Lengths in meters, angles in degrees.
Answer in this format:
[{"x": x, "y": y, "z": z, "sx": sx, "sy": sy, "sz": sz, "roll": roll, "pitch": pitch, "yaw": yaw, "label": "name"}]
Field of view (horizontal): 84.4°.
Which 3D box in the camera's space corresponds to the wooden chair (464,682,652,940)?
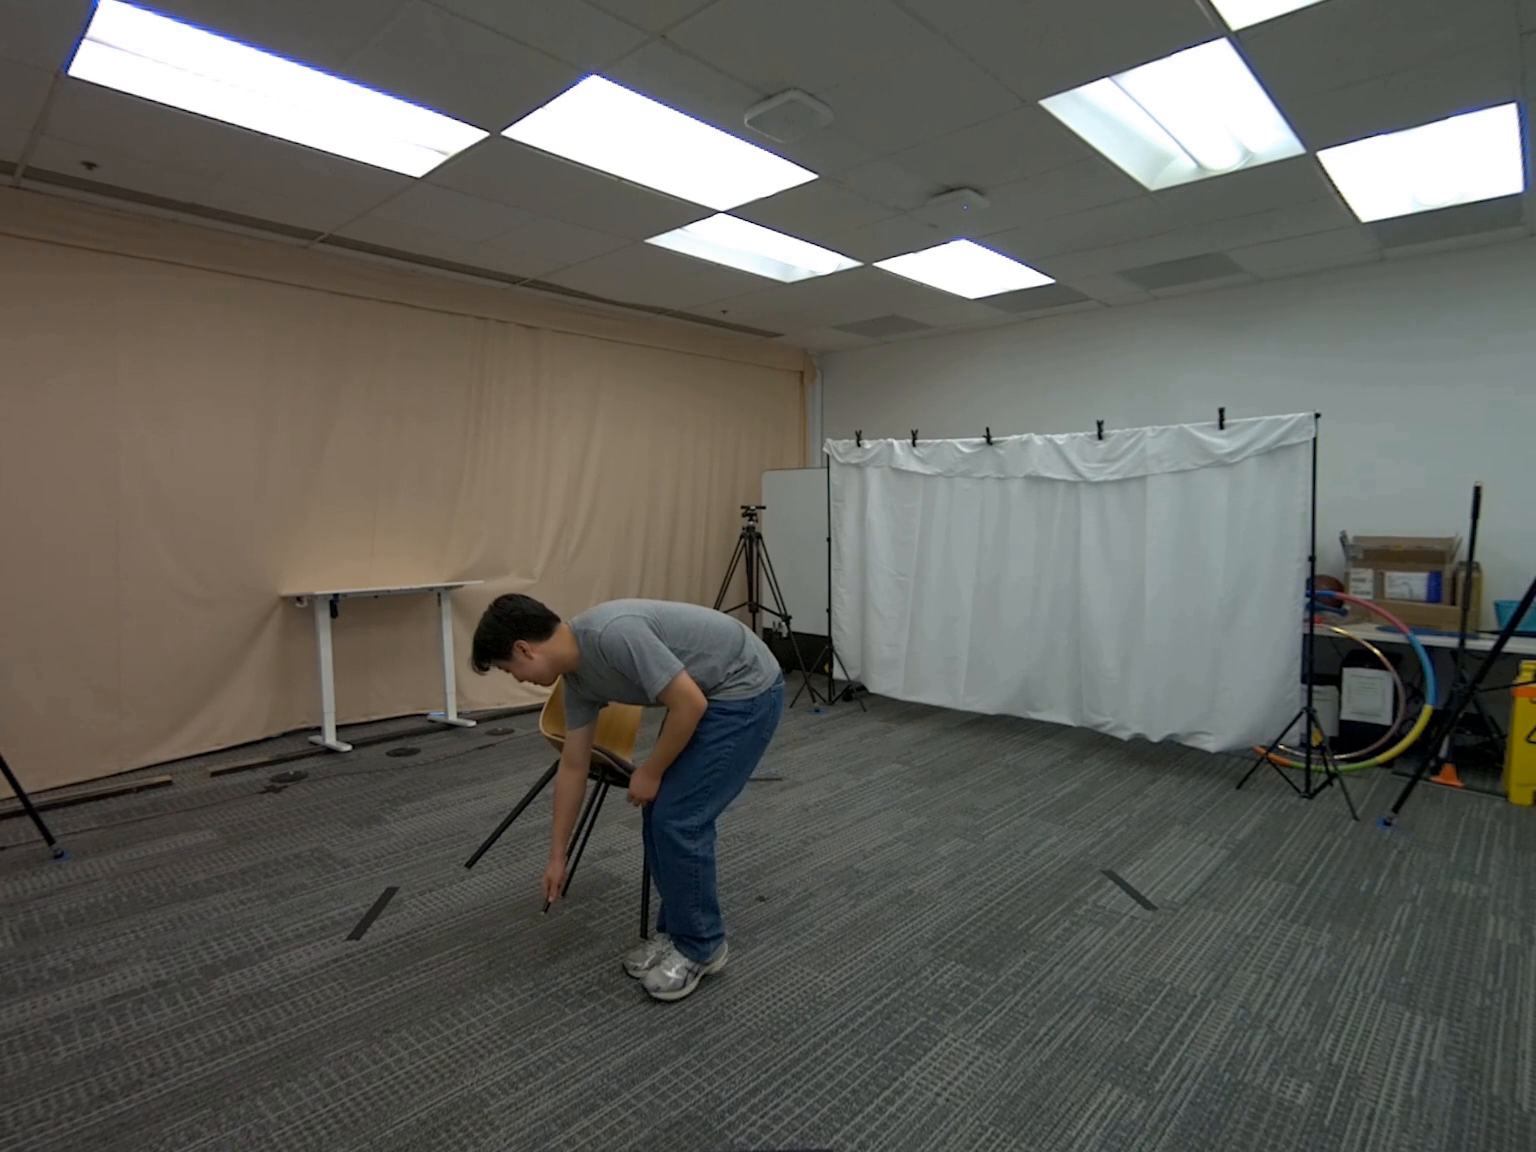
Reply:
[{"x": -0.552, "y": 0.684, "z": 2.837, "sx": 0.539, "sy": 0.882, "sz": 0.461, "roll": -3, "pitch": -30, "yaw": 40, "label": "wooden chair"}]
